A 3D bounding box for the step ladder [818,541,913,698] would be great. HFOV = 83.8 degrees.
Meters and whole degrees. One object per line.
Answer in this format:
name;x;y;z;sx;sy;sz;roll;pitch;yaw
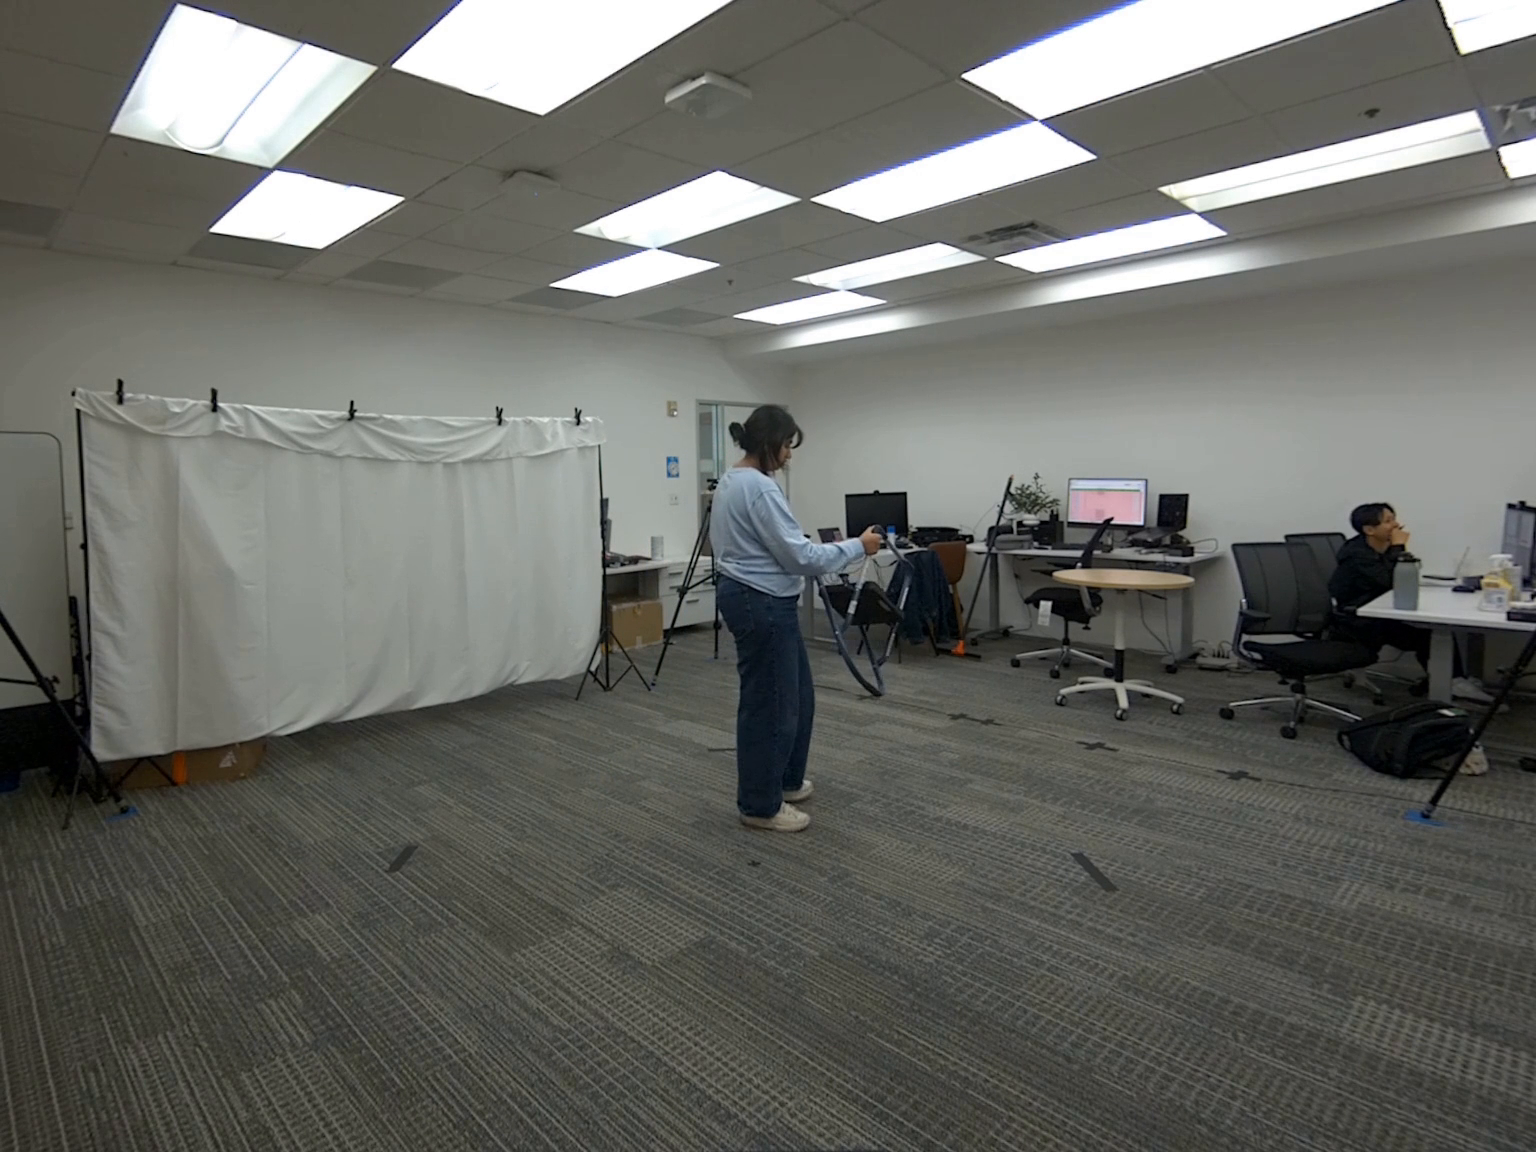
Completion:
step ladder;0.352;0.169;3.453;0.356;0.617;0.414;-10;-29;29
